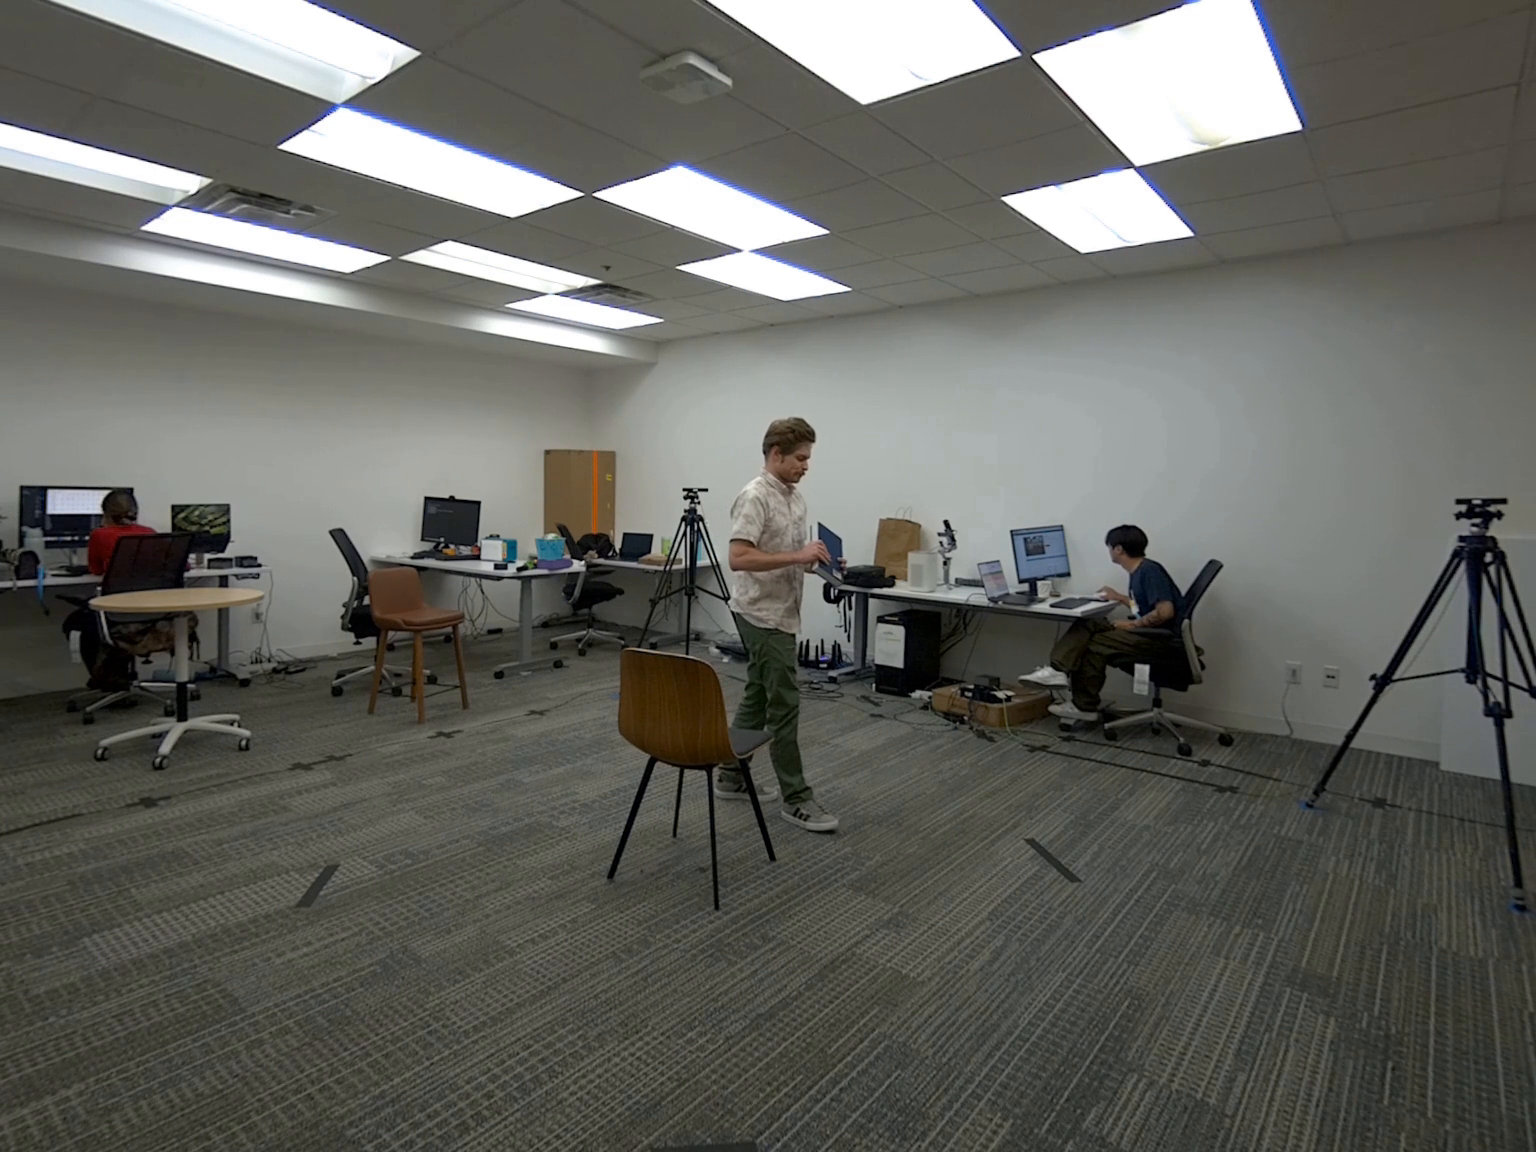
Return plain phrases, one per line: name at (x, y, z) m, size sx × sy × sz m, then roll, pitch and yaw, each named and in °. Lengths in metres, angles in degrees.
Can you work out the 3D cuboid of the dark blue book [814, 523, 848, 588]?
dark blue book at (0.237, -0.097, 3.605) m, size 0.046 × 0.251 × 0.157 m, roll -29°, pitch -47°, yaw 34°
